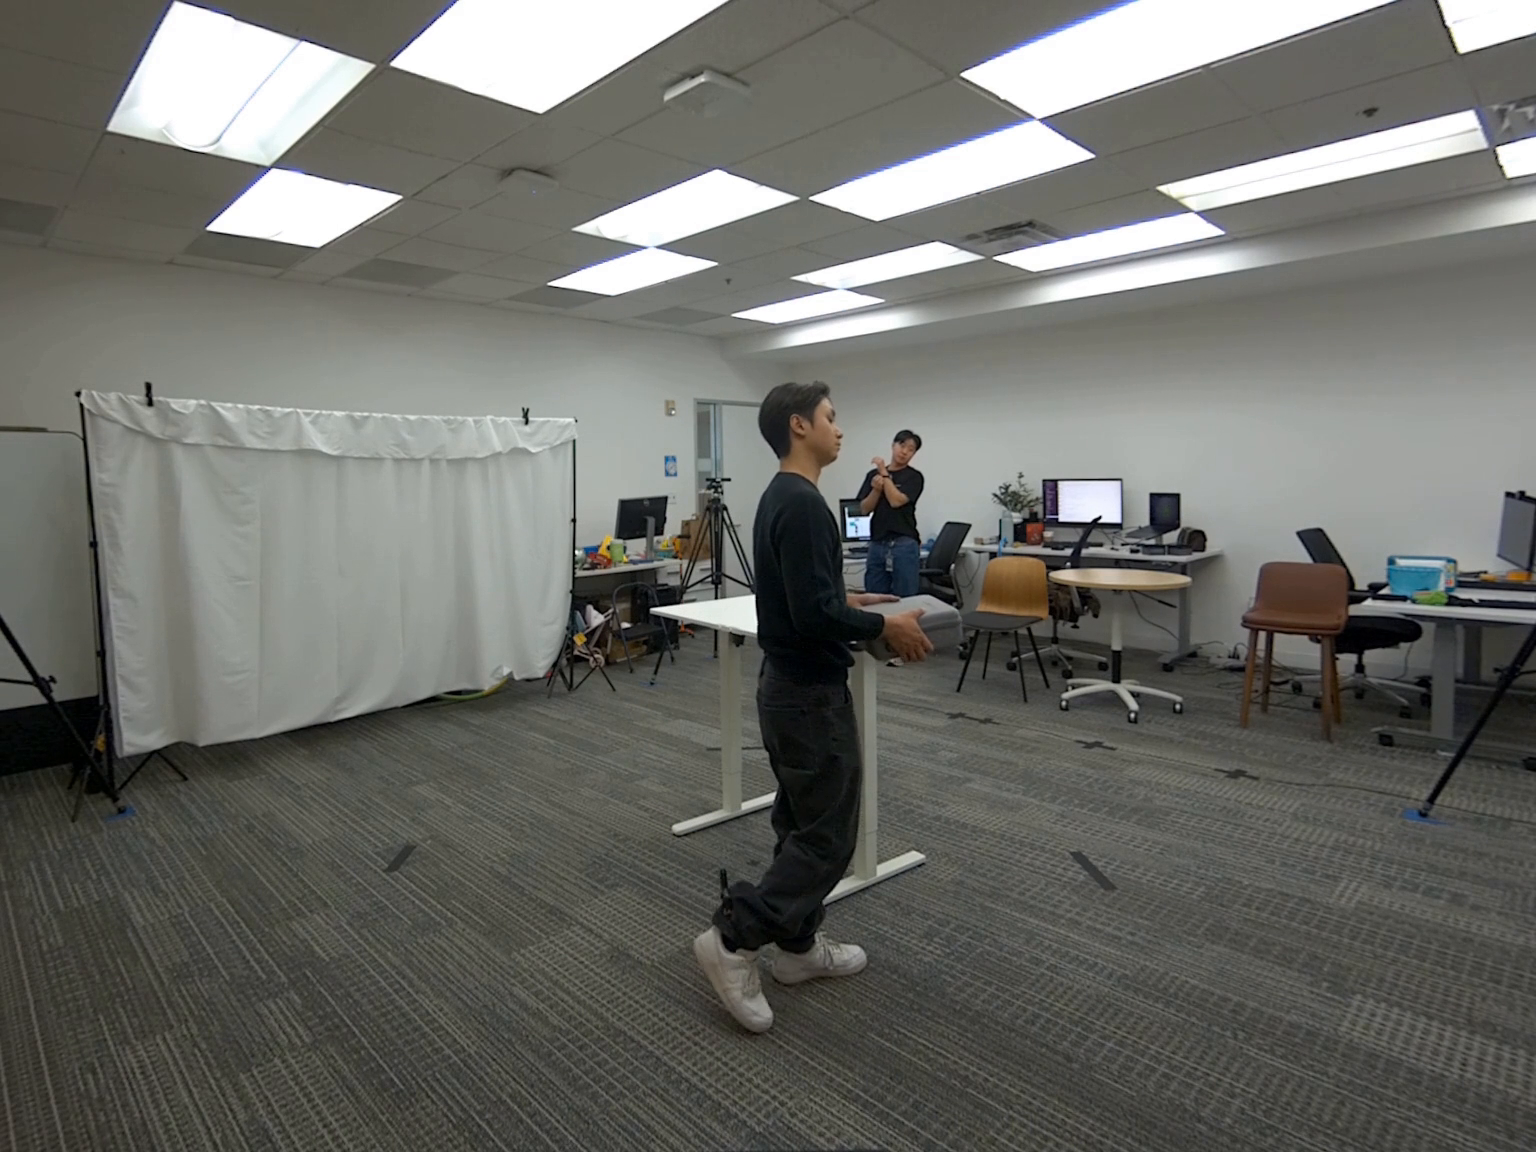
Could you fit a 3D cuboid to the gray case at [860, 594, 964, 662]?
[{"bbox_3d":[0.363,0.138,2.349,0.259,0.103,0.260,-10,10,-6],"label":"gray case"}]
